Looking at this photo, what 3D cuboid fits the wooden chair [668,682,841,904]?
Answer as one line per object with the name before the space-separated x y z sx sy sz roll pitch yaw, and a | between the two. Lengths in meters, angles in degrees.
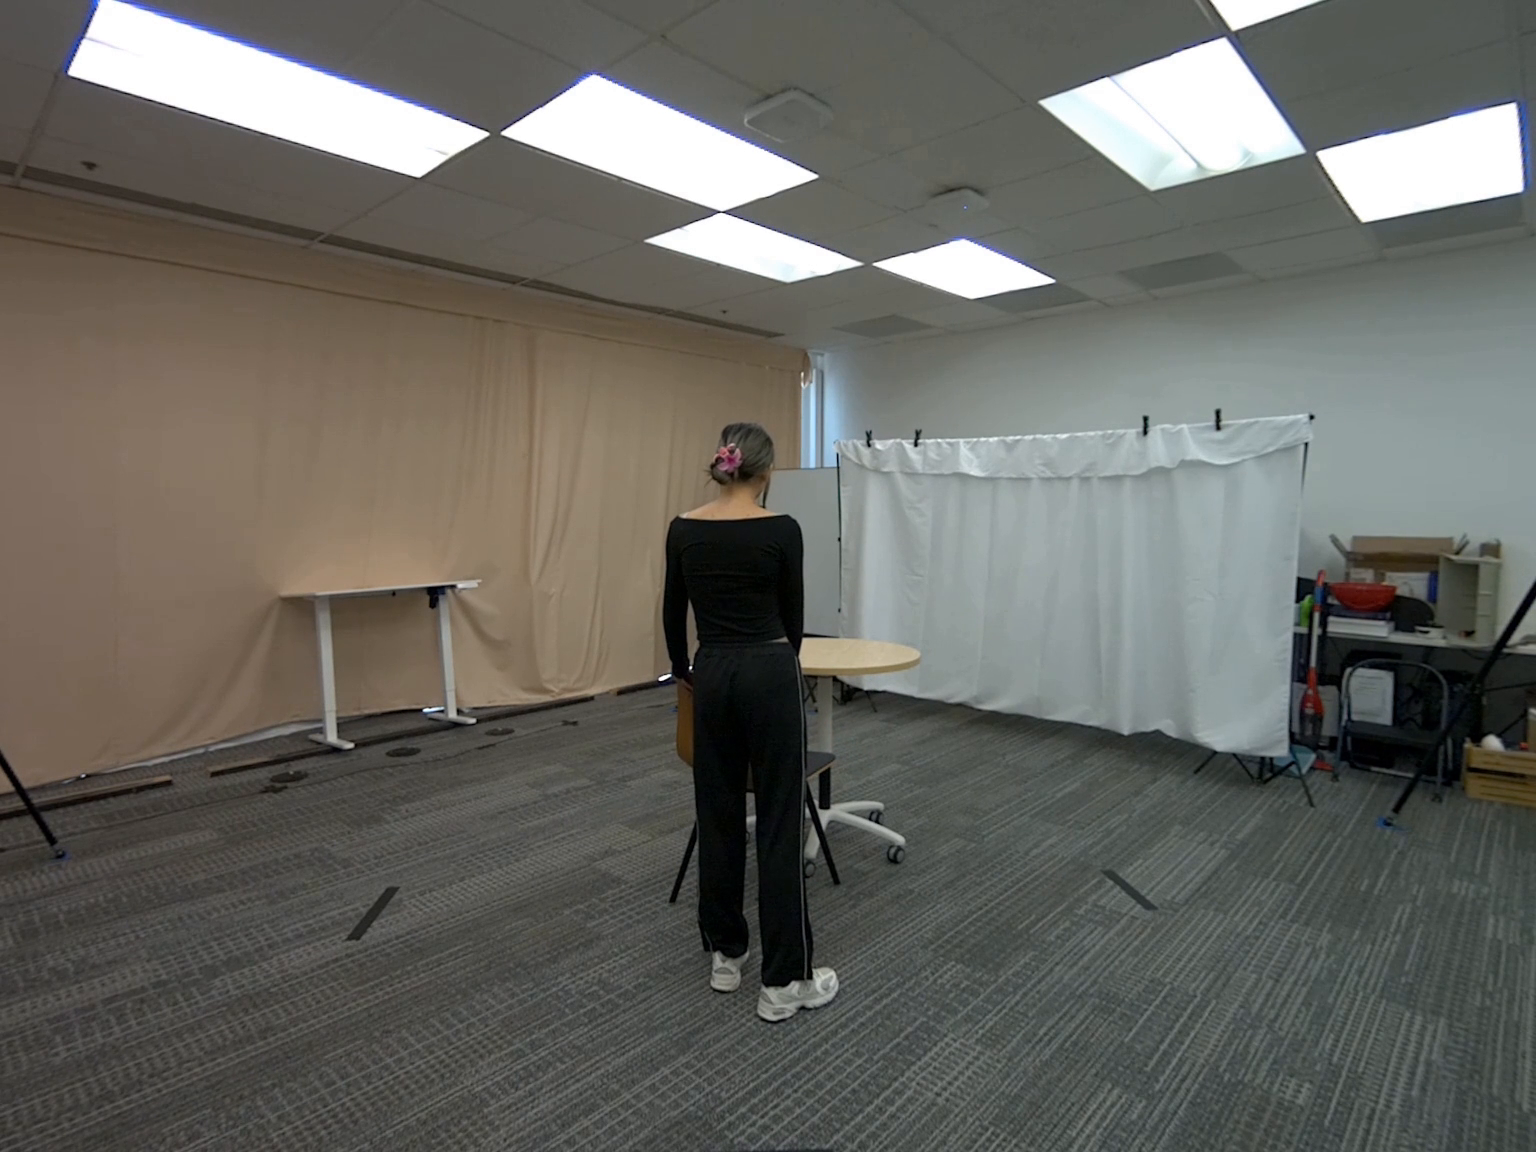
wooden chair | -0.038 0.713 3.000 0.492 0.873 0.510 2 8 32
